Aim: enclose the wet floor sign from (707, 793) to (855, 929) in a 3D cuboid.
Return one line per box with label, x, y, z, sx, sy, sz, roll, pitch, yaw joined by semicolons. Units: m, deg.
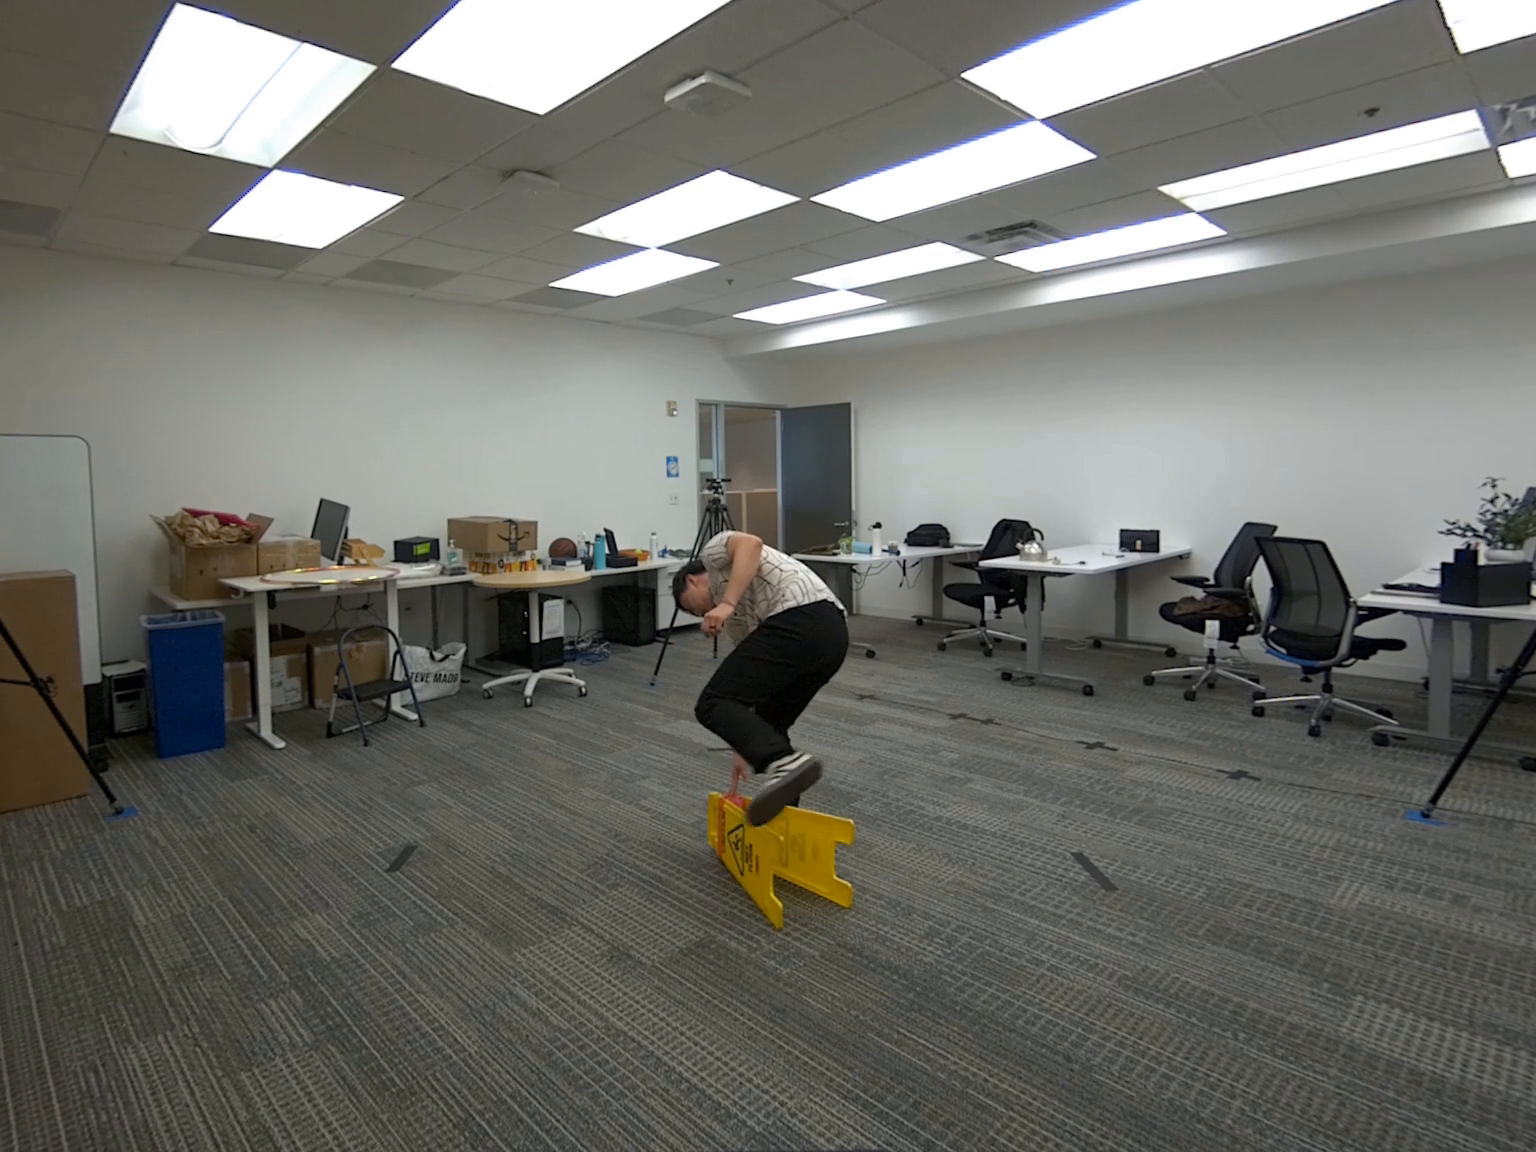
wet floor sign;-0.030;0.928;2.961;0.282;0.282;0.664;-1;2;-35
